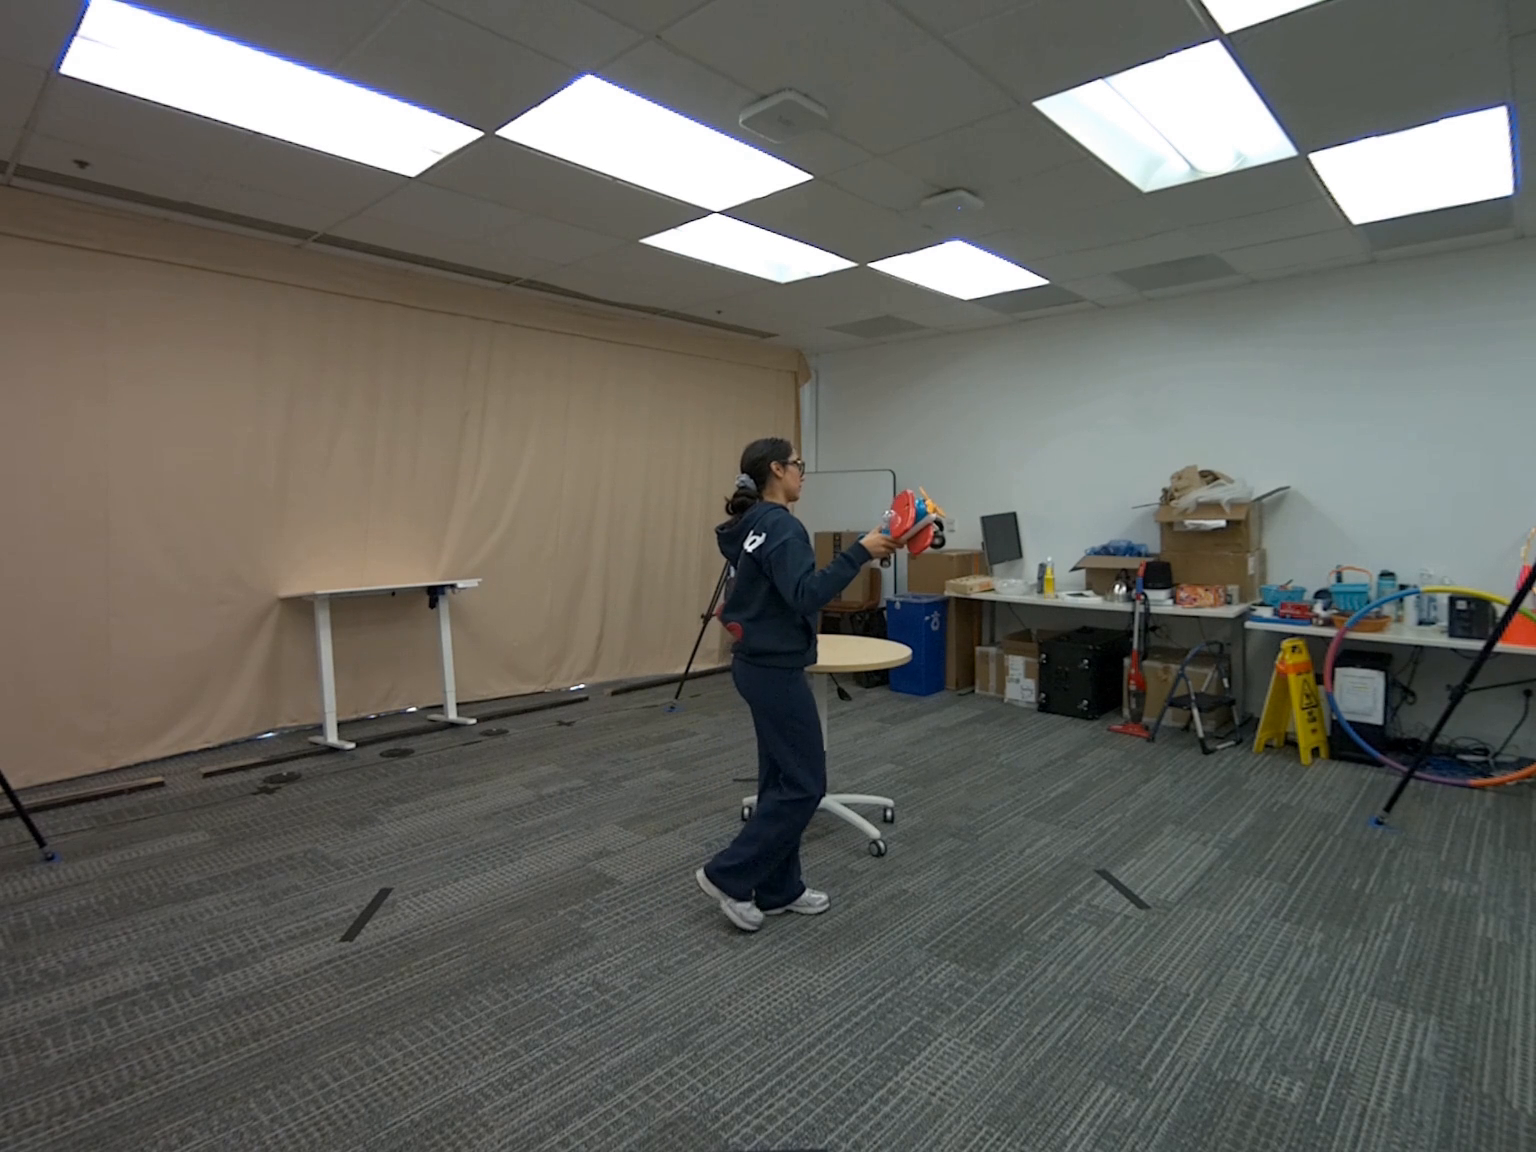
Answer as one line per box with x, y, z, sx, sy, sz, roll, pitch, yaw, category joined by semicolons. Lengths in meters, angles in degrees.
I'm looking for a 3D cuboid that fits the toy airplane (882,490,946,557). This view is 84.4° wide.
0.423;-0.131;2.548;0.259;0.153;0.257;-38;21;-4;toy airplane
